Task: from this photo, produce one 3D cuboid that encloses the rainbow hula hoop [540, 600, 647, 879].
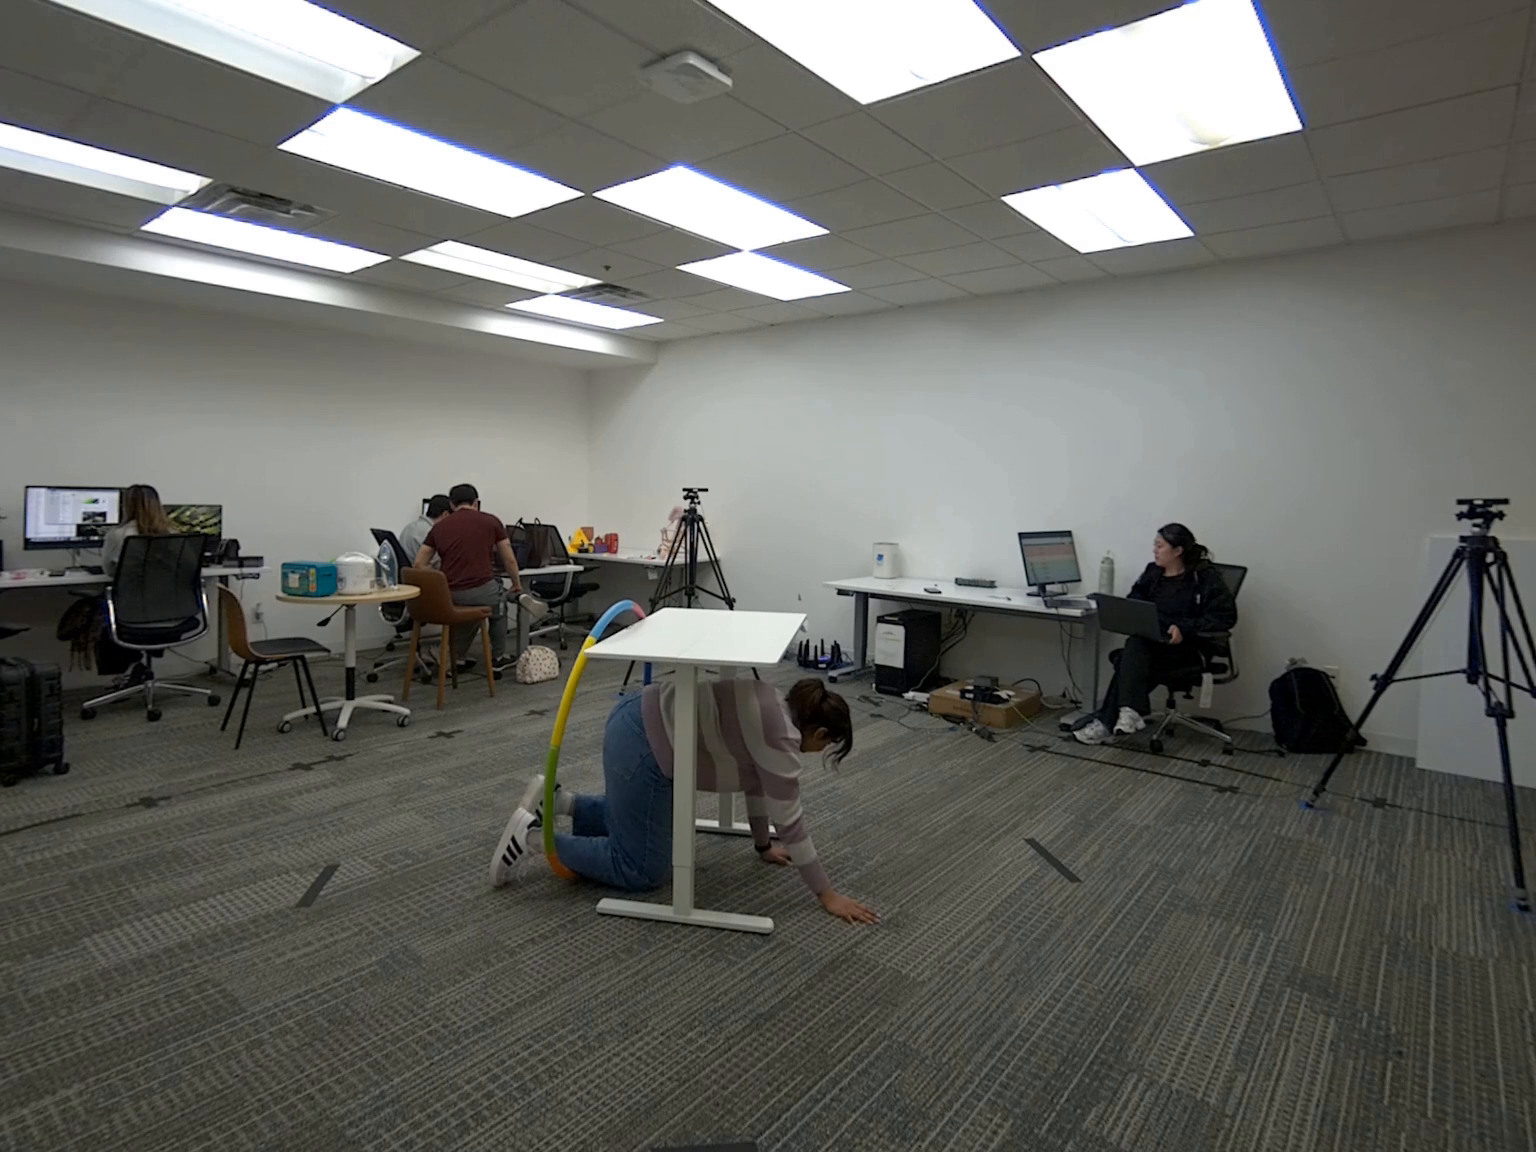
[{"bbox_3d":[-0.607,0.583,3.094,0.036,0.975,0.970,9,5,9],"label":"rainbow hula hoop"}]
